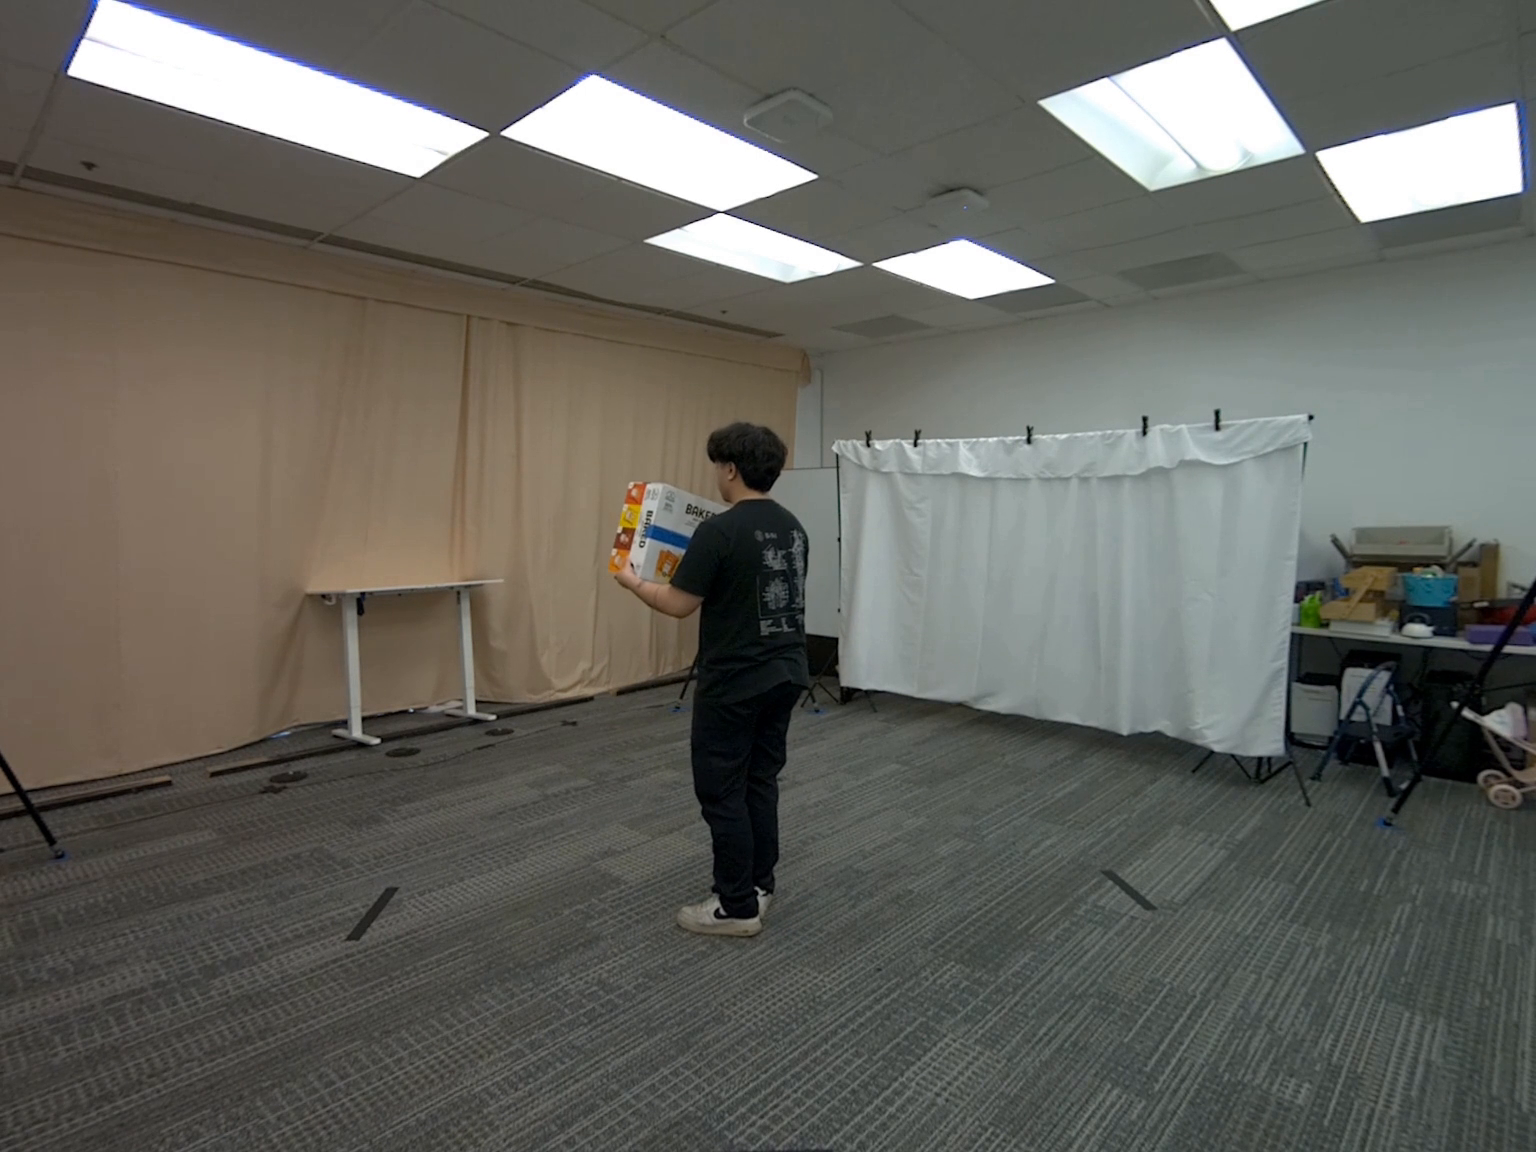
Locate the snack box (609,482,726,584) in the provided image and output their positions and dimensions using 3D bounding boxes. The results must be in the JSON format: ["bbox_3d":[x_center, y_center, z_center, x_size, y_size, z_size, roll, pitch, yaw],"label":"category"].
[{"bbox_3d":[-0.333,-0.122,3.128,0.391,0.341,0.213,18,-7,-42],"label":"snack box"}]
